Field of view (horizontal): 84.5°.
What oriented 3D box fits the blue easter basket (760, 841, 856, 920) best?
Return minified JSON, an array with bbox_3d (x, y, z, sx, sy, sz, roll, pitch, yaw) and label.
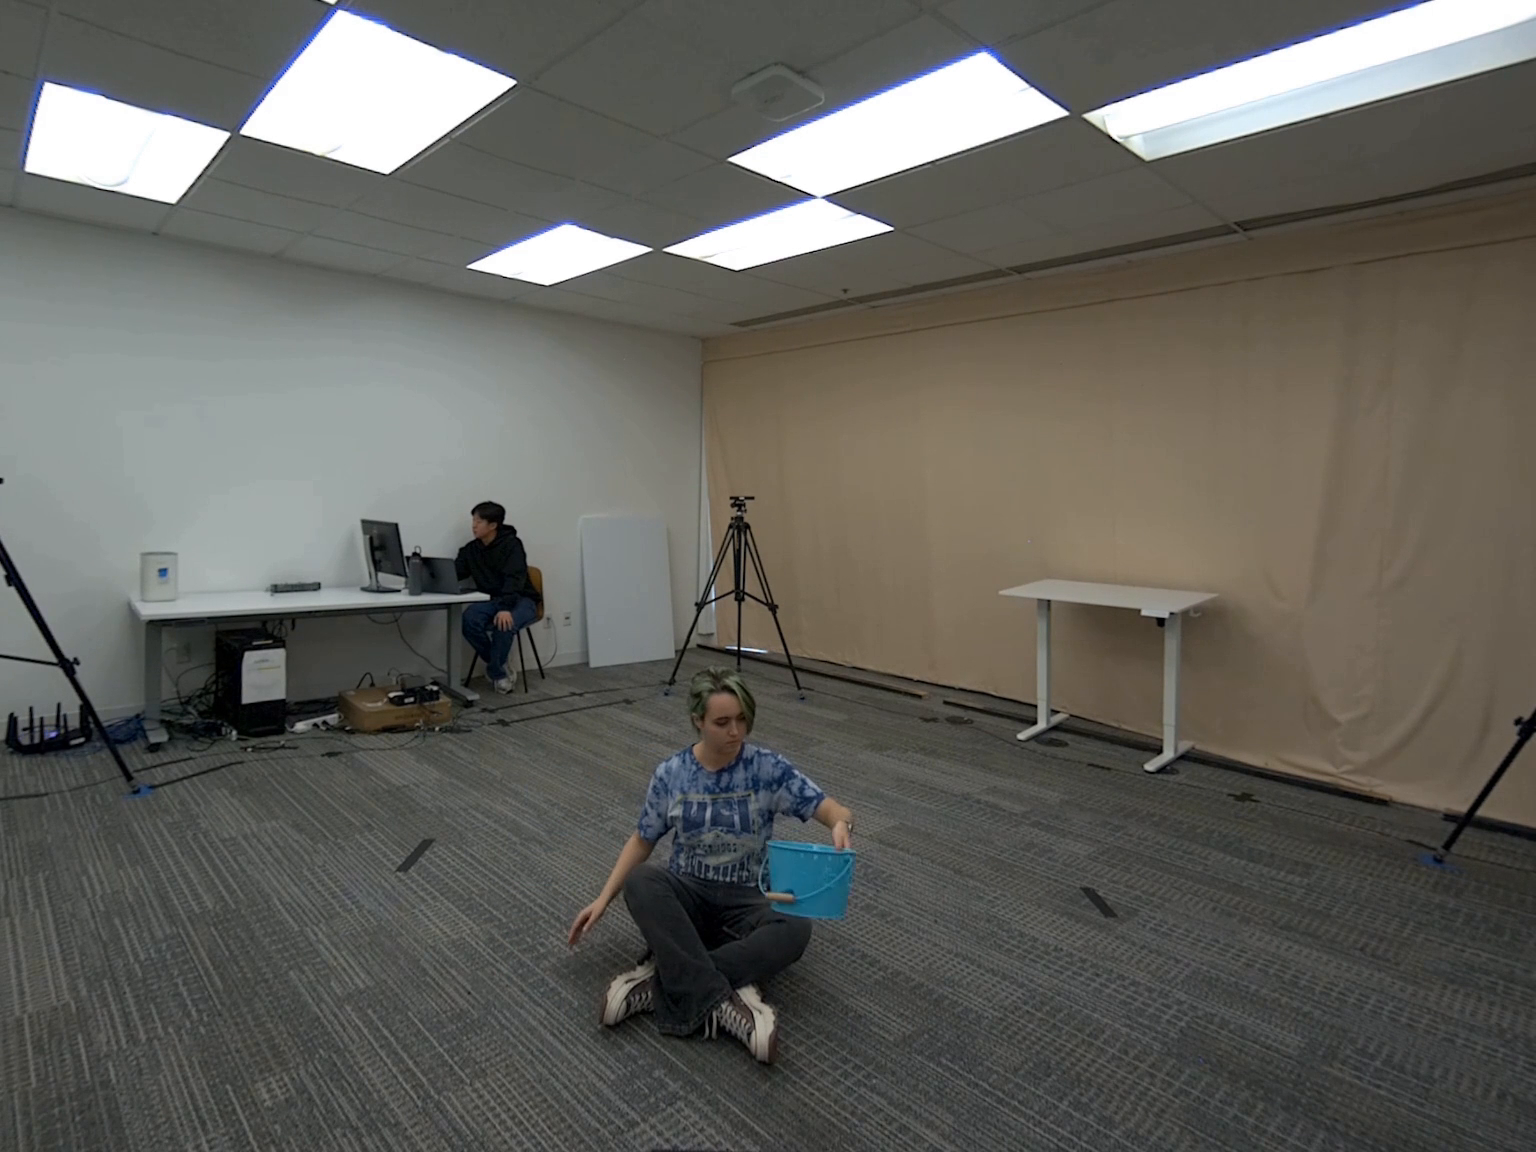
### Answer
[{"bbox_3d":[0.092,0.759,2.096,0.244,0.157,0.241,6,-15,0],"label":"blue easter basket"}]
